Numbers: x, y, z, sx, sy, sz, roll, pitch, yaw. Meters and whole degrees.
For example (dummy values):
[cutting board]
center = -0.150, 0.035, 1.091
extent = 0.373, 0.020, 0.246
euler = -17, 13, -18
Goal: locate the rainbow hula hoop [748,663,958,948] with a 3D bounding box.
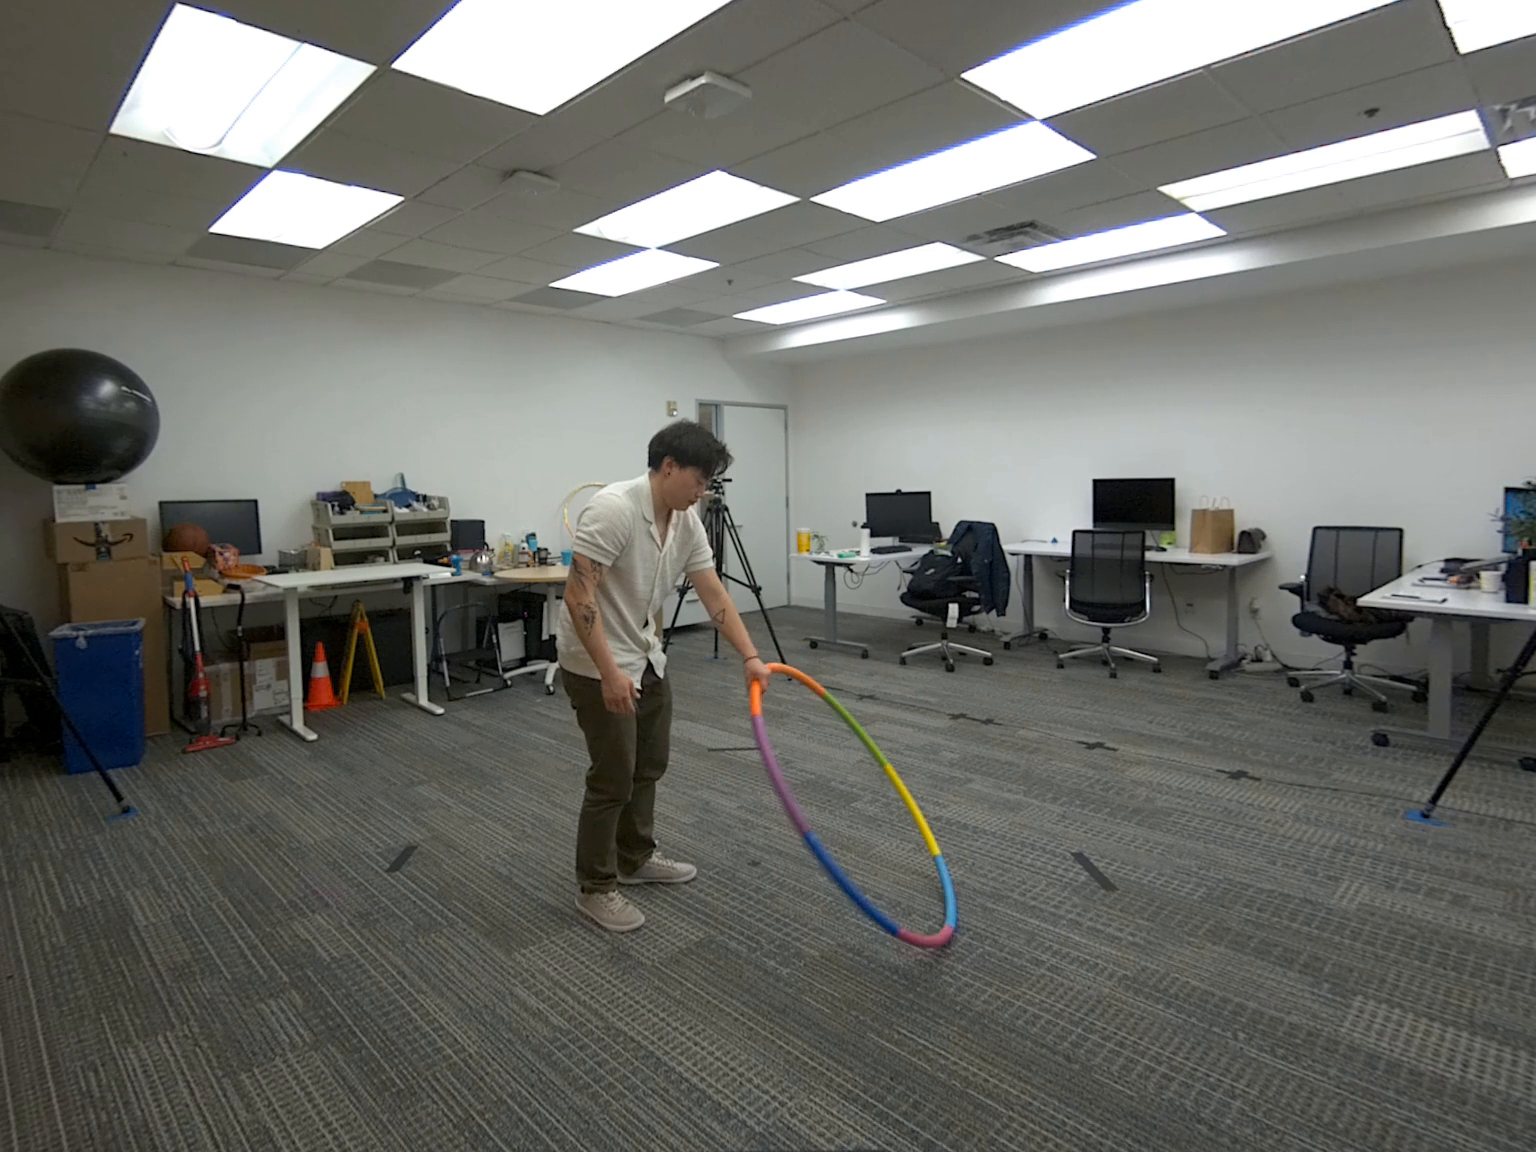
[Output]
[rainbow hula hoop]
center = 0.287, 0.676, 2.748
extent = 0.035, 0.990, 0.966
euler = -41, -7, 16
